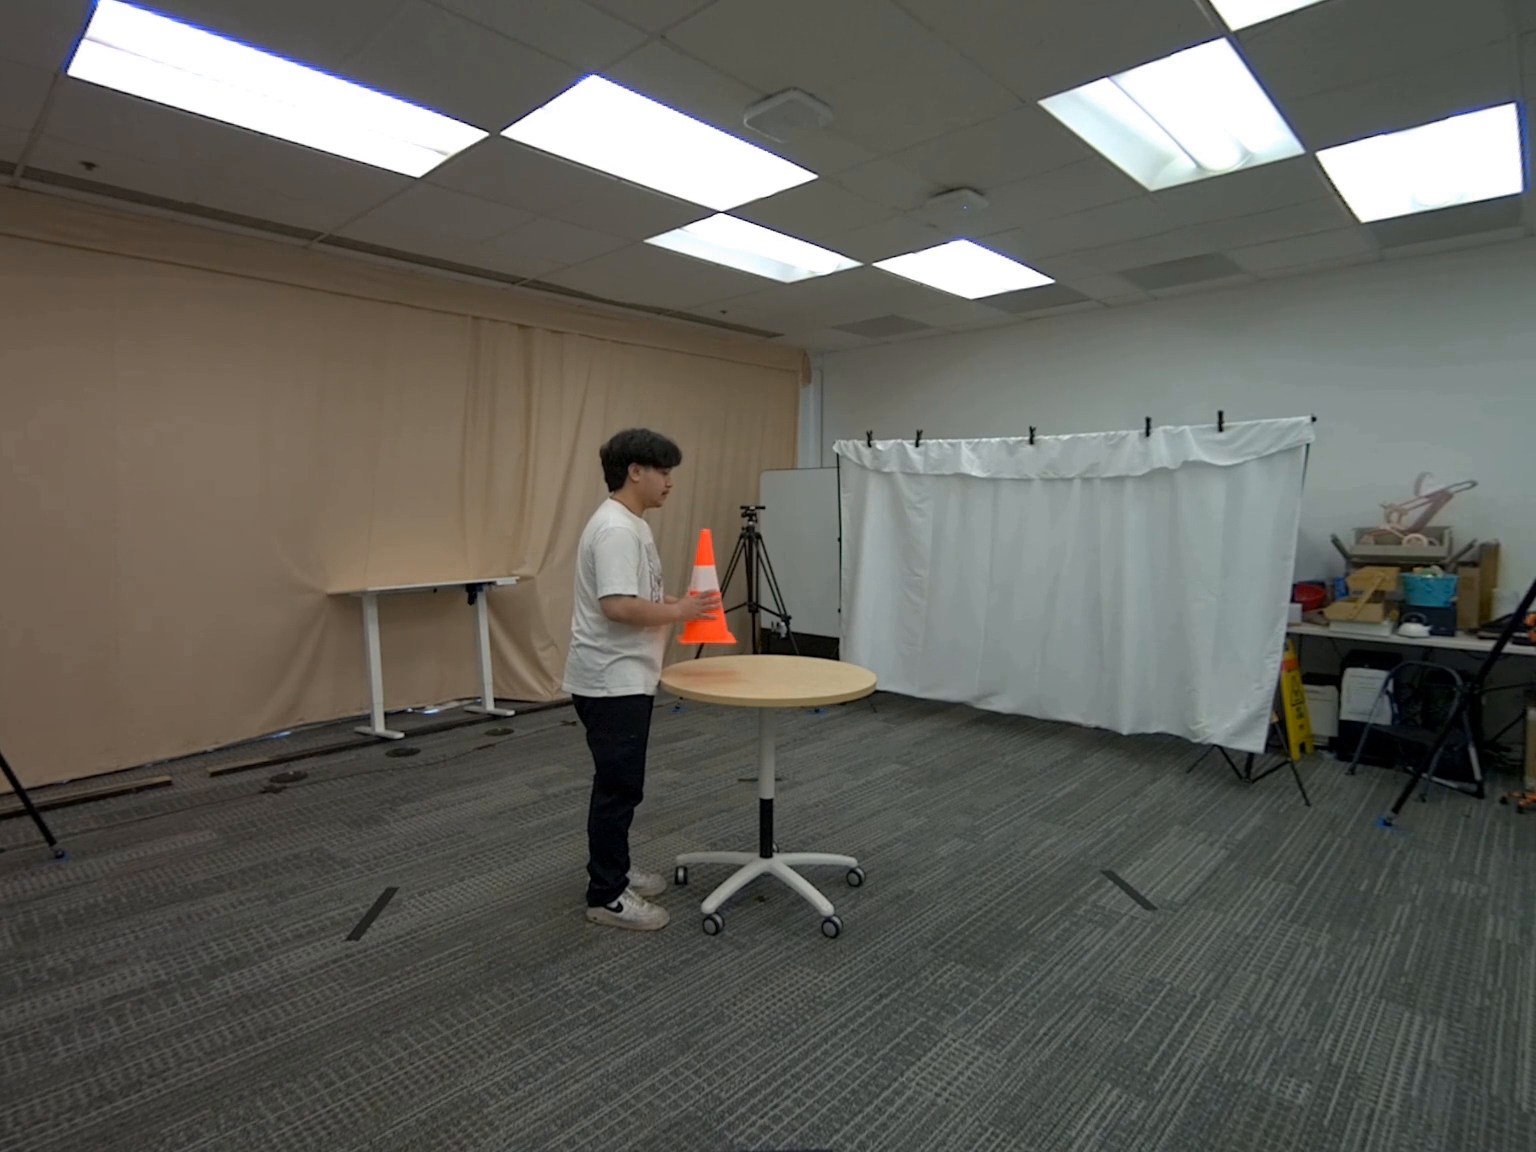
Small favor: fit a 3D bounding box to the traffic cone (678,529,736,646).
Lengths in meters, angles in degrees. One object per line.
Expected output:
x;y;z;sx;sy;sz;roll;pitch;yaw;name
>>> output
-0.216;0.029;2.931;0.198;0.383;0.210;3;1;-45;traffic cone
